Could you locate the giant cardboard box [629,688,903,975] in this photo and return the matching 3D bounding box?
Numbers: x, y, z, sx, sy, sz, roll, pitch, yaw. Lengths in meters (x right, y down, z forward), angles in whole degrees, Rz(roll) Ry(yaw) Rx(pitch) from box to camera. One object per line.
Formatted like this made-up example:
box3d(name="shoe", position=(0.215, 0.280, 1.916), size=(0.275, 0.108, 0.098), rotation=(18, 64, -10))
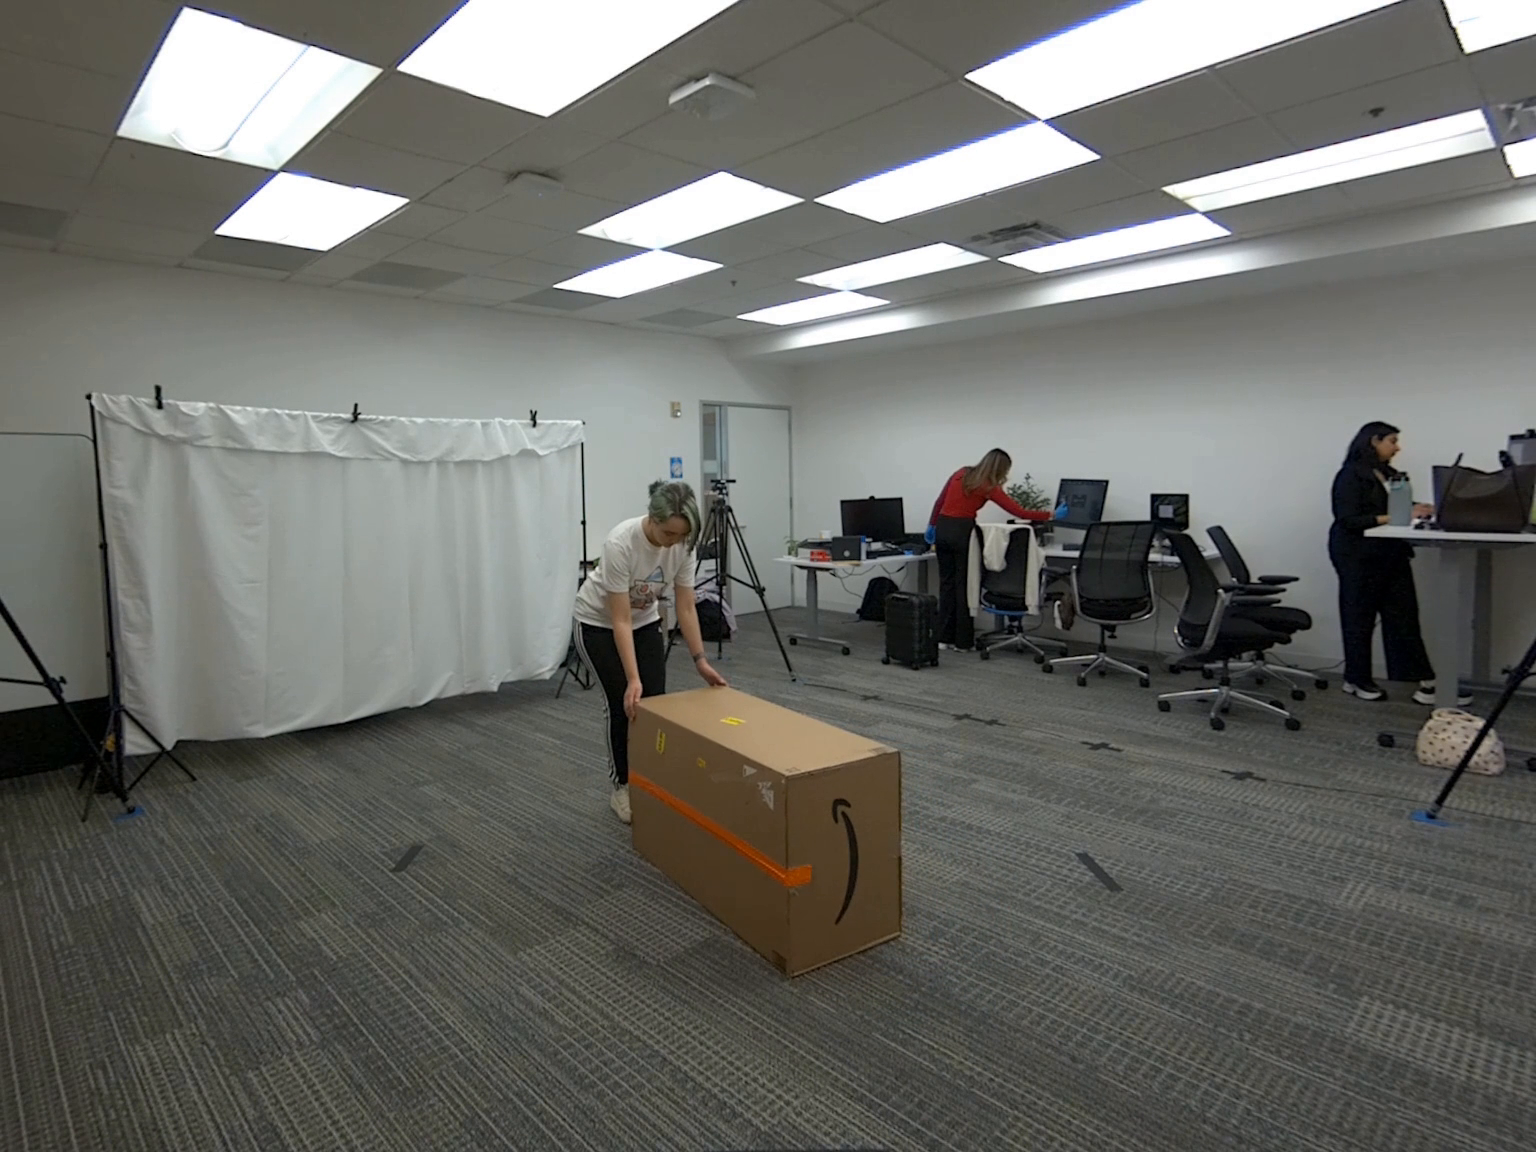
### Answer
box3d(name="giant cardboard box", position=(-0.056, 0.784, 2.906), size=(0.436, 0.581, 1.057), rotation=(-5, 7, -33))
